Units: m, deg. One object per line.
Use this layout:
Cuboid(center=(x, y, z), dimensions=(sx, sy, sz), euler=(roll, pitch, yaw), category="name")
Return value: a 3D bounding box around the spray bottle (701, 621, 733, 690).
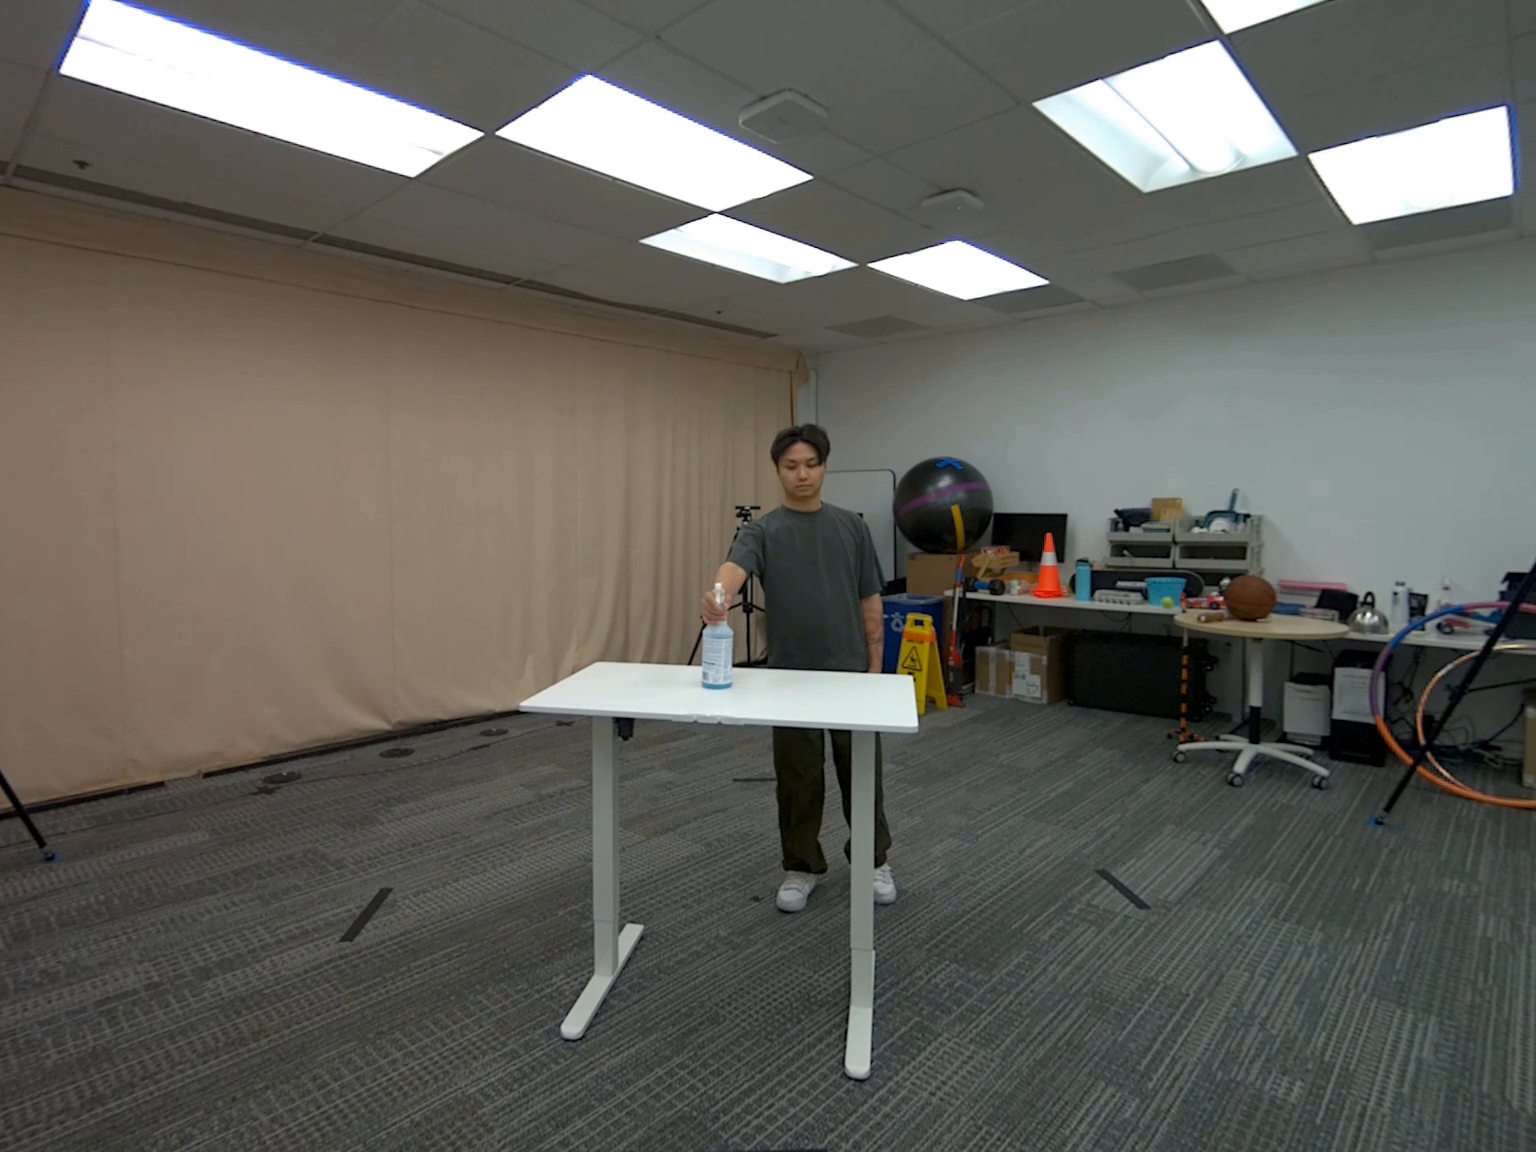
Cuboid(center=(-0.139, 0.171, 2.365), dimensions=(0.089, 0.296, 0.088), euler=(5, 8, 26), category="spray bottle")
